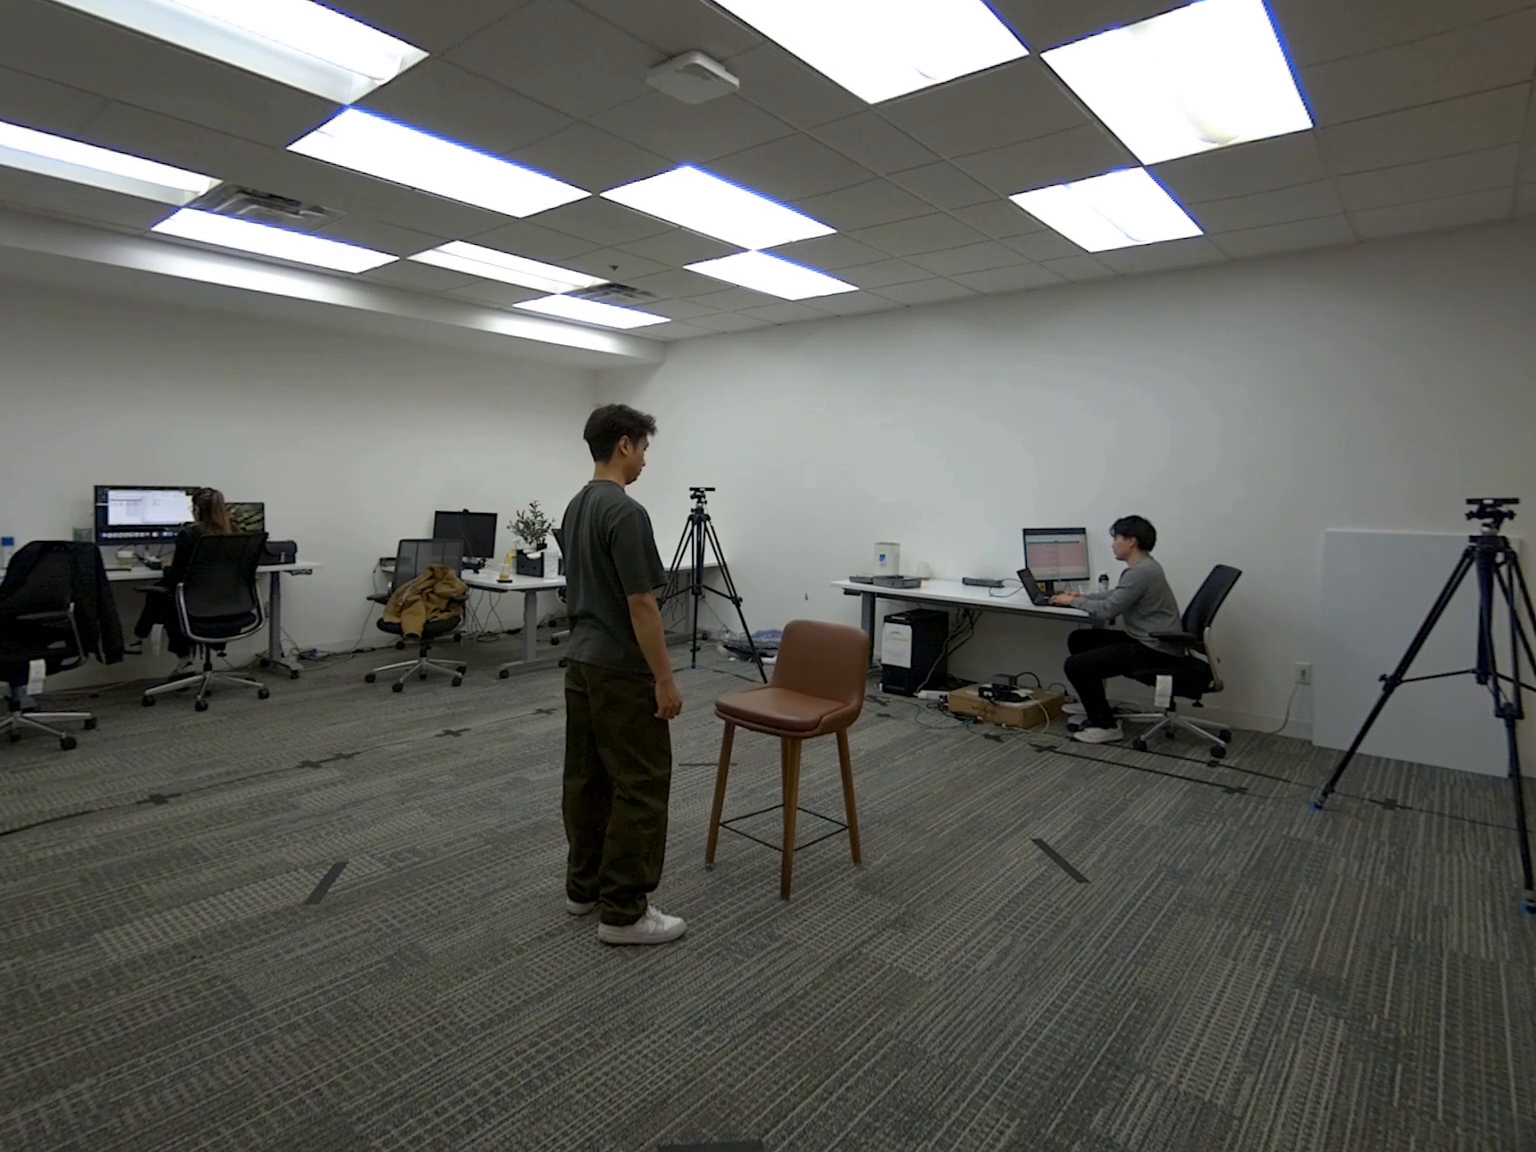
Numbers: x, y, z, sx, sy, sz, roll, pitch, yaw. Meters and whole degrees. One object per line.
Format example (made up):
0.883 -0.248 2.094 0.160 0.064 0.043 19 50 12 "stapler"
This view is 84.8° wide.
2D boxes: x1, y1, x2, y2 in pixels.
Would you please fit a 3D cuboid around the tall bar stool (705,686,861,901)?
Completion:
0.060 0.628 3.152 0.453 0.889 0.472 1 2 -45 "tall bar stool"
